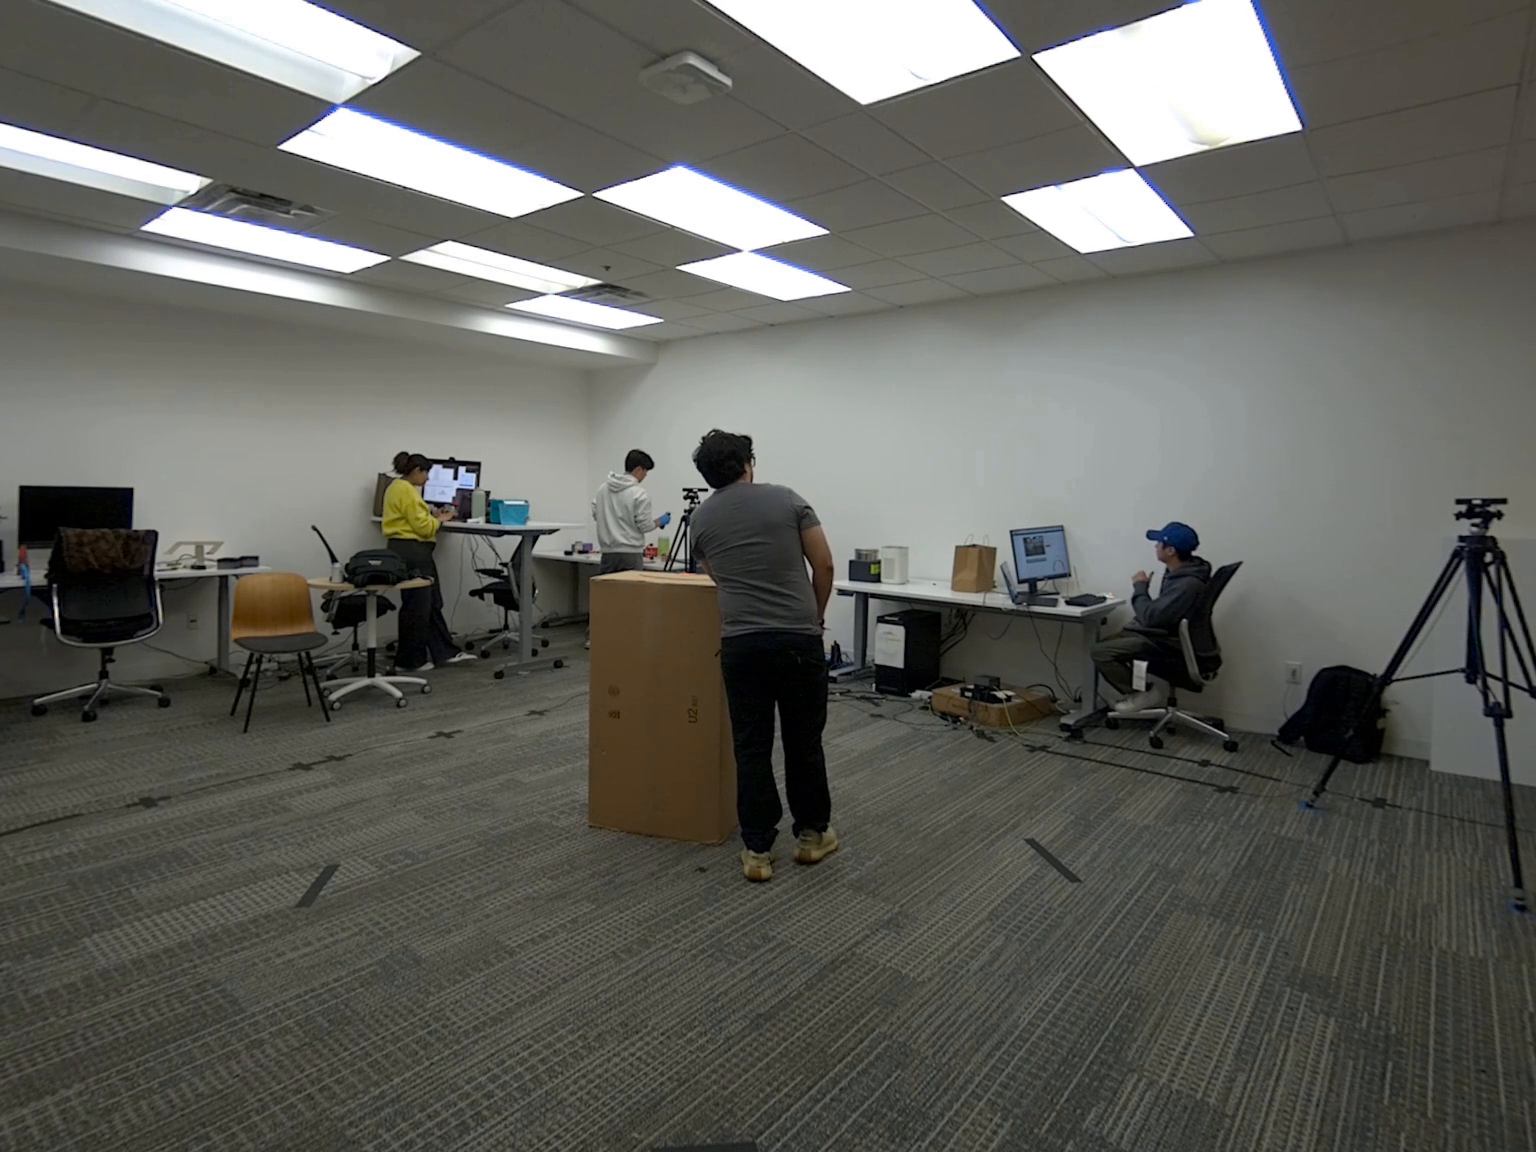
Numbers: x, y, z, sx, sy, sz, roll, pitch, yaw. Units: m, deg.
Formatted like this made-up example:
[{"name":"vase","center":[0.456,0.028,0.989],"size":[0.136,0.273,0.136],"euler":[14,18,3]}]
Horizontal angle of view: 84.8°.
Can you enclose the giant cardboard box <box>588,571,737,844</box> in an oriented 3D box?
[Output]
[{"name":"giant cardboard box","center":[-0.415,0.513,3.583],"size":[0.590,1.023,0.418],"euler":[2,3,19]}]
